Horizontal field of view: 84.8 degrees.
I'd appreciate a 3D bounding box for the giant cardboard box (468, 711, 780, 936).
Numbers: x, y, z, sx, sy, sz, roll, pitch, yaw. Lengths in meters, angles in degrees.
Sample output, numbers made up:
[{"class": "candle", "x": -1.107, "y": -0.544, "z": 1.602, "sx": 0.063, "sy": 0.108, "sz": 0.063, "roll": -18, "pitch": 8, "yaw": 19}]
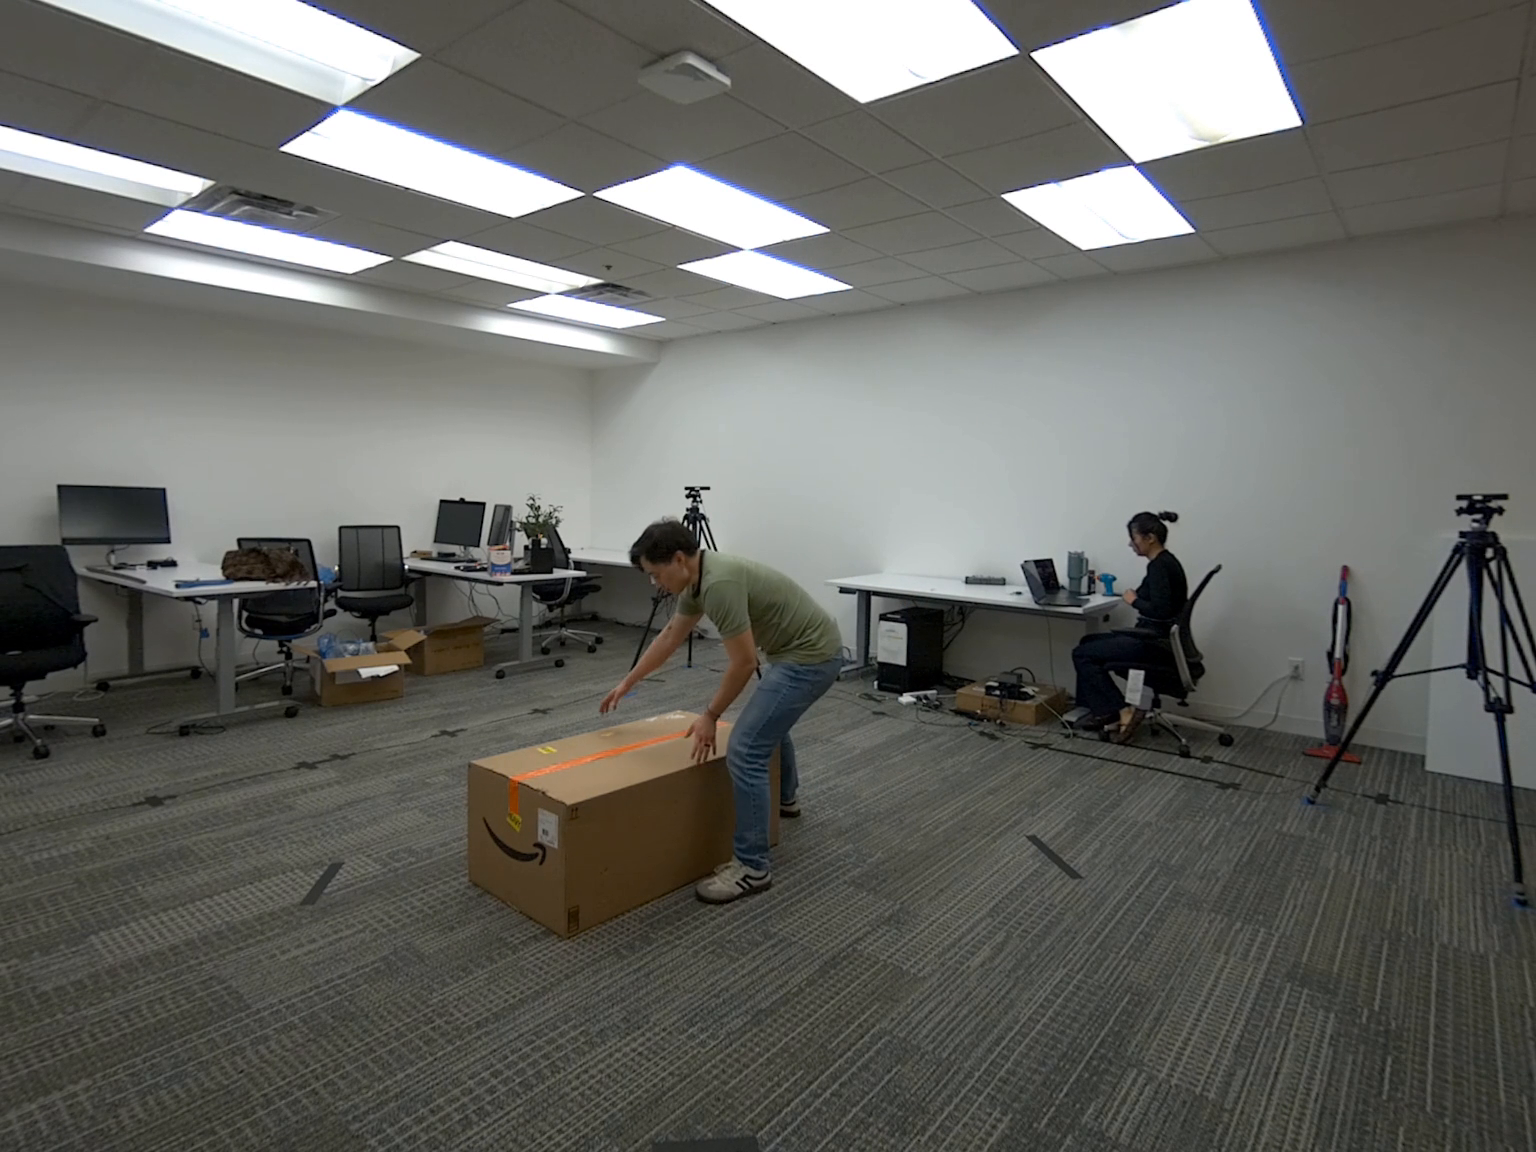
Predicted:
[{"class": "giant cardboard box", "x": -0.518, "y": 0.845, "z": 3.145, "sx": 0.597, "sy": 0.425, "sz": 0.995, "roll": 4, "pitch": 6, "yaw": 41}]
